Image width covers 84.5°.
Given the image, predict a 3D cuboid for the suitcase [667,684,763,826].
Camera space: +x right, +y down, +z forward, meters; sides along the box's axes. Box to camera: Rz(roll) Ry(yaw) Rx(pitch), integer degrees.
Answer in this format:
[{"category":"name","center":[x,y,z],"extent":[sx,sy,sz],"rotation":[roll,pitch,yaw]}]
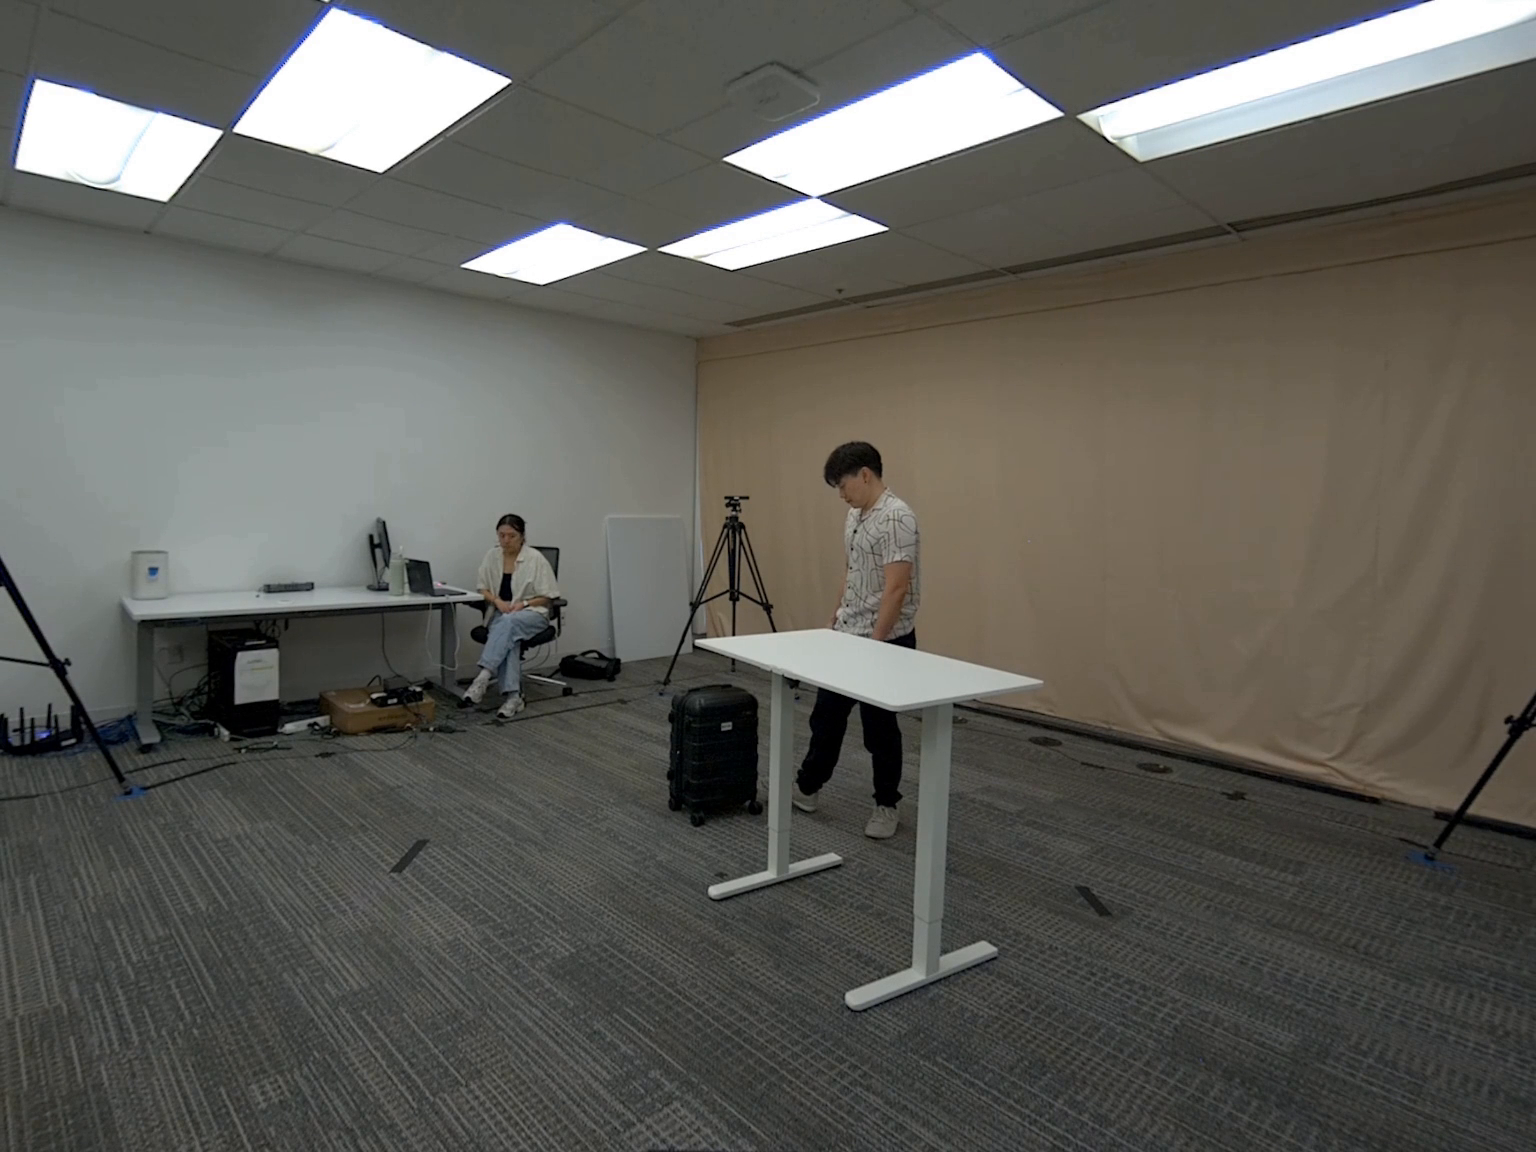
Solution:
[{"category":"suitcase","center":[-0.252,0.768,3.743],"extent":[0.367,0.548,0.254],"rotation":[-1,3,-34]}]
